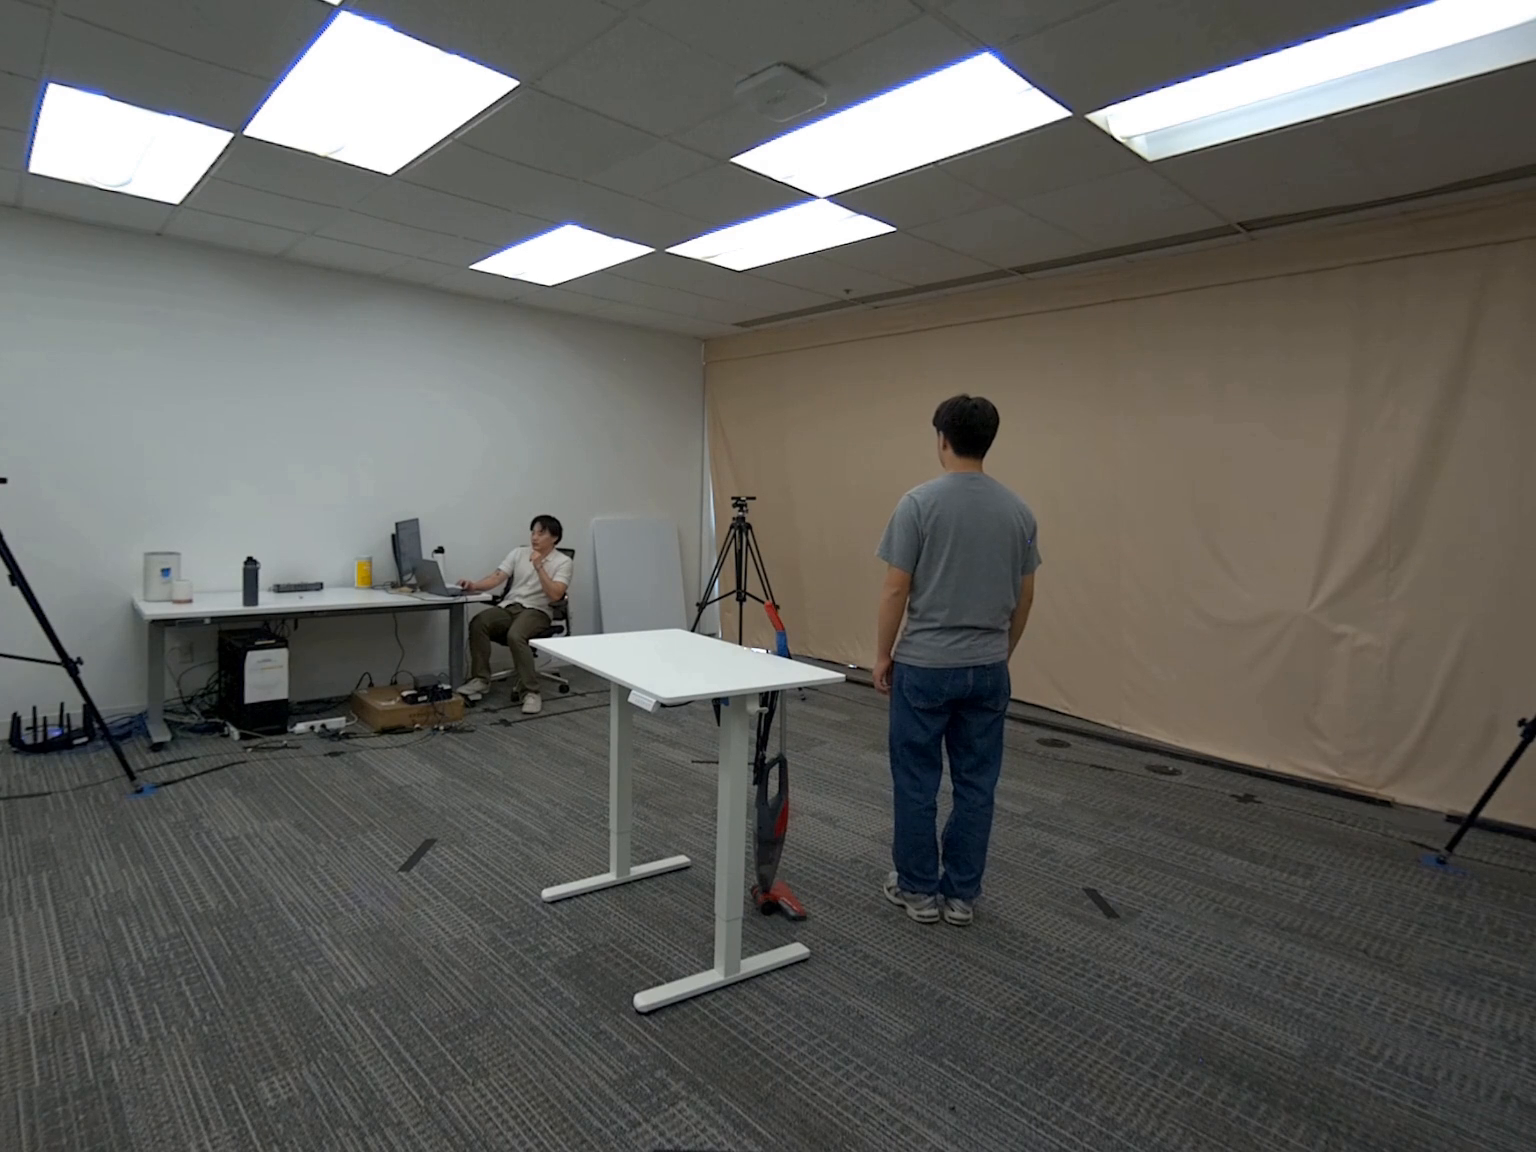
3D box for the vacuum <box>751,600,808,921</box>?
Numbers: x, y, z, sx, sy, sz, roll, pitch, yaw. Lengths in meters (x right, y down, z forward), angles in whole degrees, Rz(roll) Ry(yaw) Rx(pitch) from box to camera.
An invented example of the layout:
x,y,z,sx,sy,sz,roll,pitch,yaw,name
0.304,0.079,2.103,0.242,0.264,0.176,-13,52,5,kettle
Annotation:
x,y,z,sx,sy,sz,roll,pitch,yaw,name
0.009,0.605,2.849,0.143,1.048,0.255,-2,2,-10,vacuum
